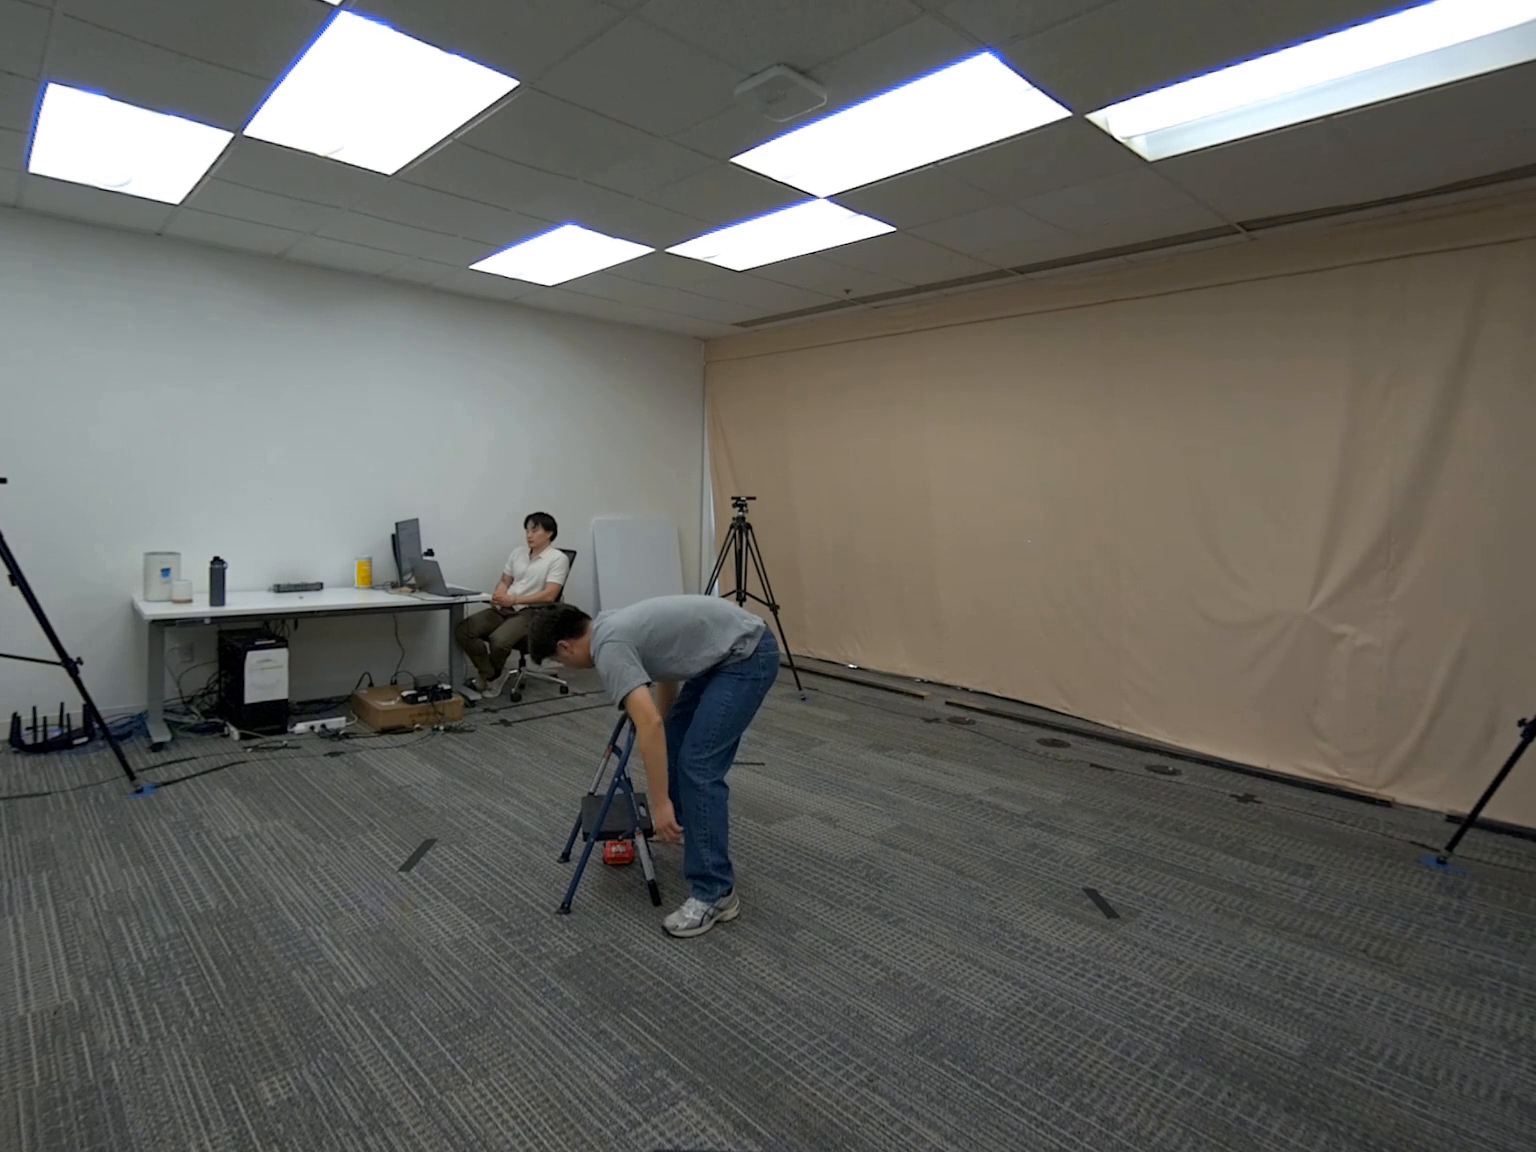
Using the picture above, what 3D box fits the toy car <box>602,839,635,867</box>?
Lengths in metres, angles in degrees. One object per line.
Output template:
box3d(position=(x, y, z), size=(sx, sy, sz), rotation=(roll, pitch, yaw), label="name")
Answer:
box3d(position=(-0.584, 1.060, 3.240), size=(0.129, 0.084, 0.255), rotation=(1, -8, -10), label="toy car")
